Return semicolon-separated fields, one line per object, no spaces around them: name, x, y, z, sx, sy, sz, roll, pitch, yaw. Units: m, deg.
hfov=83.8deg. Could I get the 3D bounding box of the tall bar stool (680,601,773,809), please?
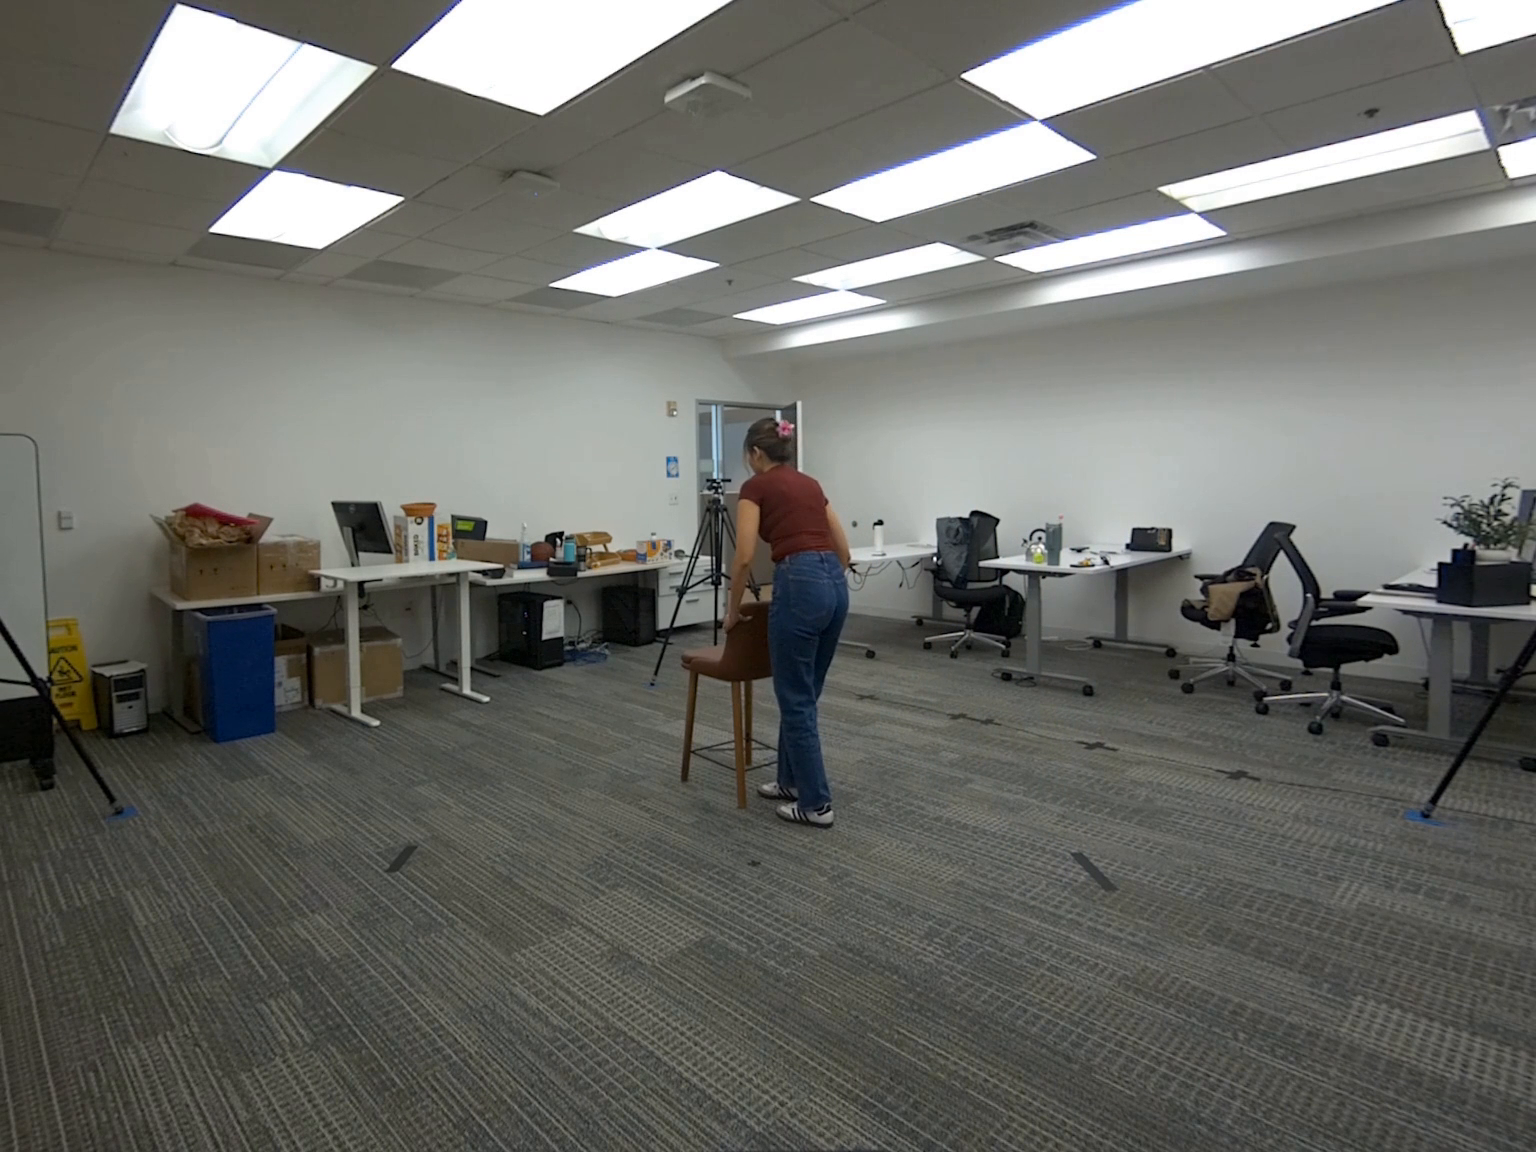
tall bar stool;-0.114;0.521;3.884;0.444;0.885;0.482;-3;7;-37
